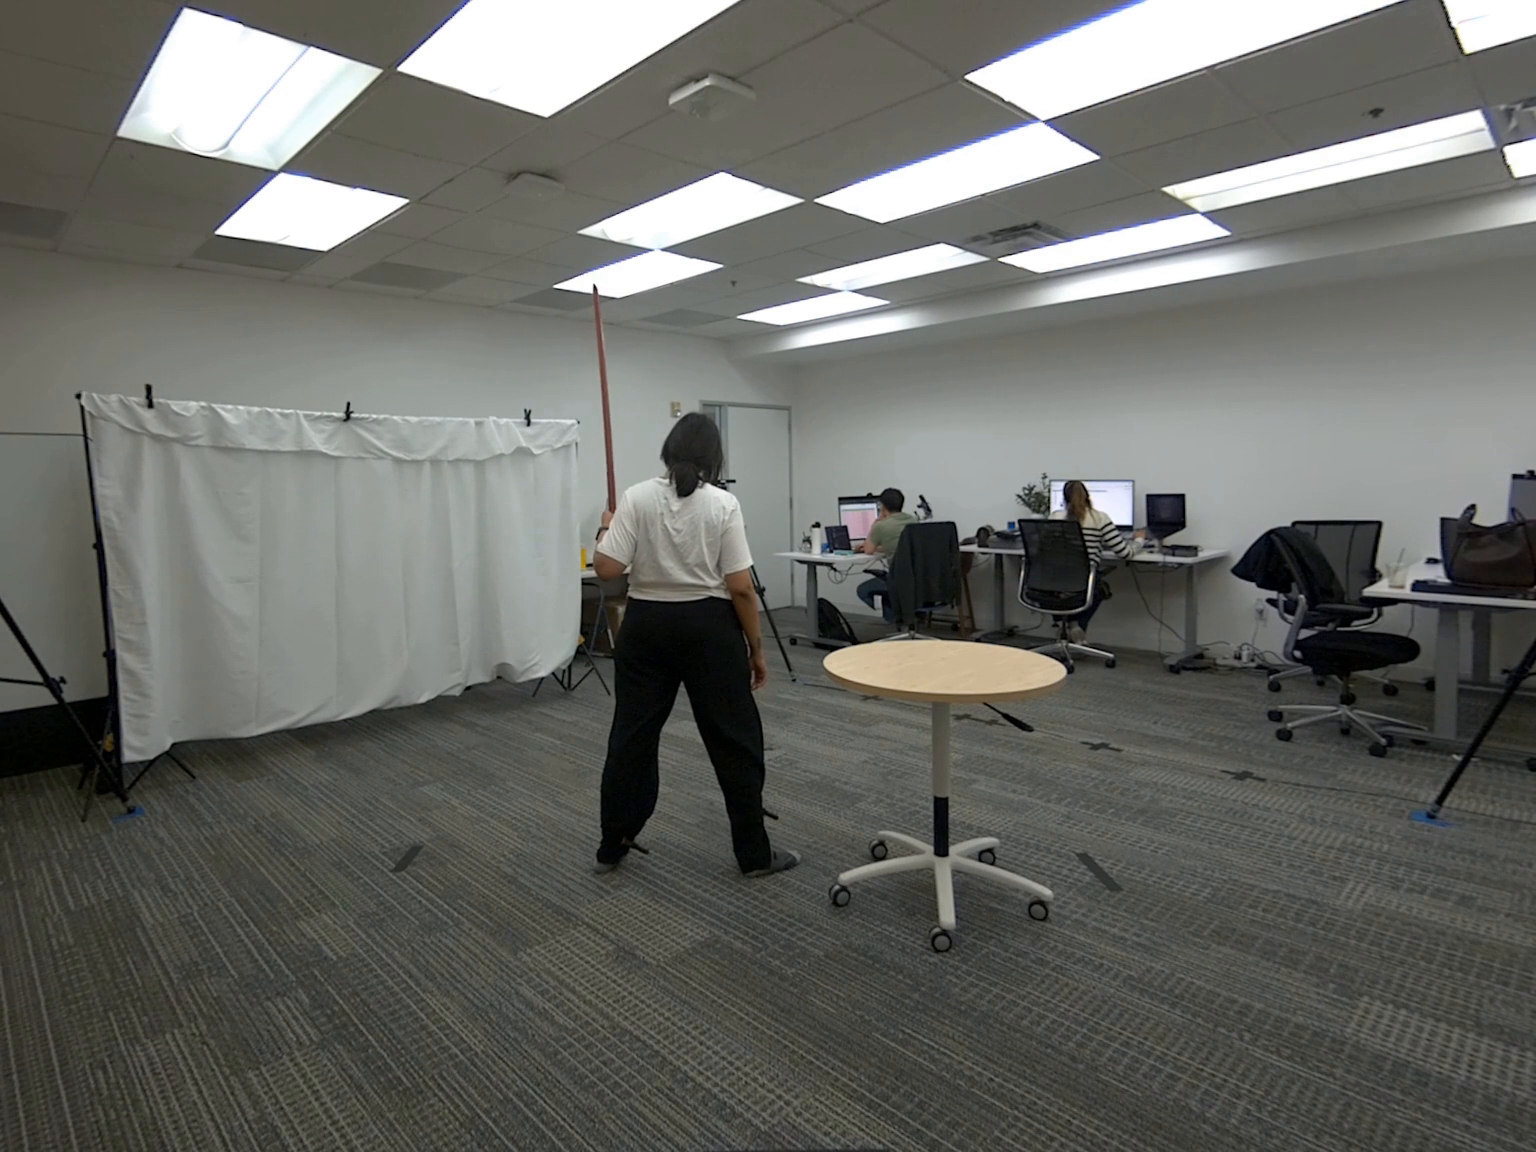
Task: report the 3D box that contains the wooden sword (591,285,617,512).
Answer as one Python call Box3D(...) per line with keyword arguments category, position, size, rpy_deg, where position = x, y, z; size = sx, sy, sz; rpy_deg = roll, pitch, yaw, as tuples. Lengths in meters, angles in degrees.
Box3D(category="wooden sword", position=(-0.634, -0.652, 3.313), size=(0.050, 1.034, 0.024), rpy_deg=(-1, -10, -30))
